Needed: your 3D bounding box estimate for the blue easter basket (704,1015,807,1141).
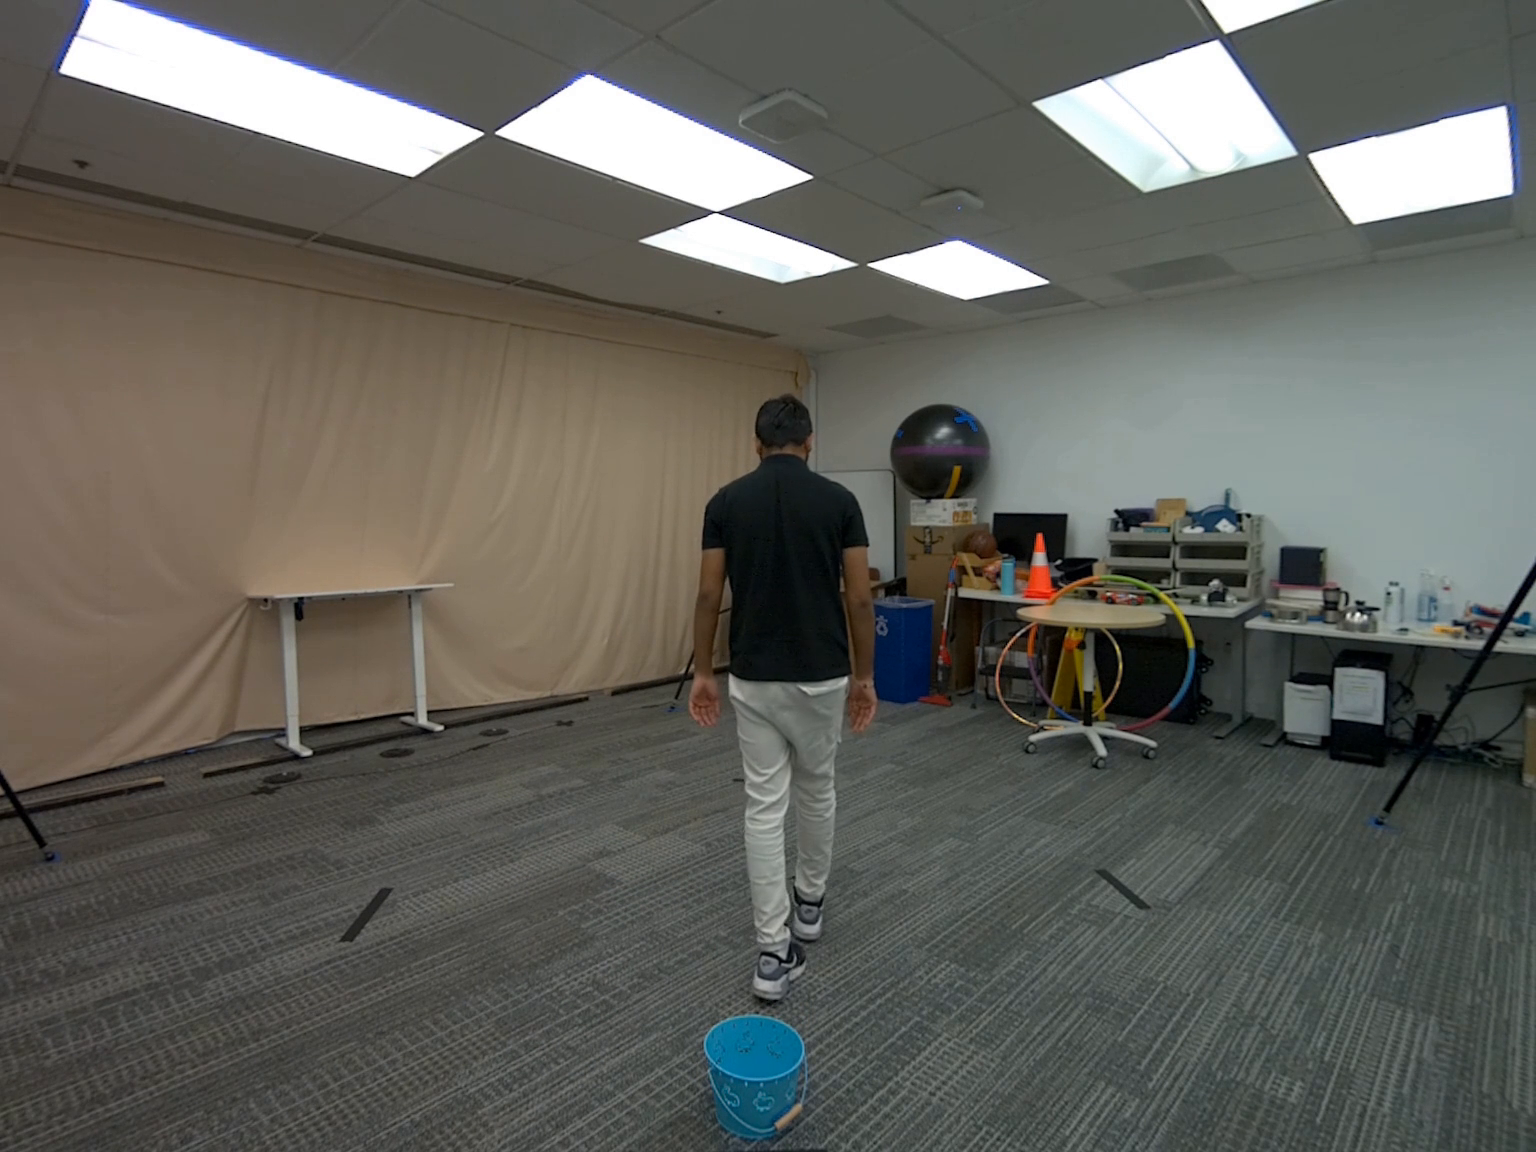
[{"bbox_3d":[-0.033,1.155,1.934,0.243,0.155,0.244,0,3,-2],"label":"blue easter basket"}]
